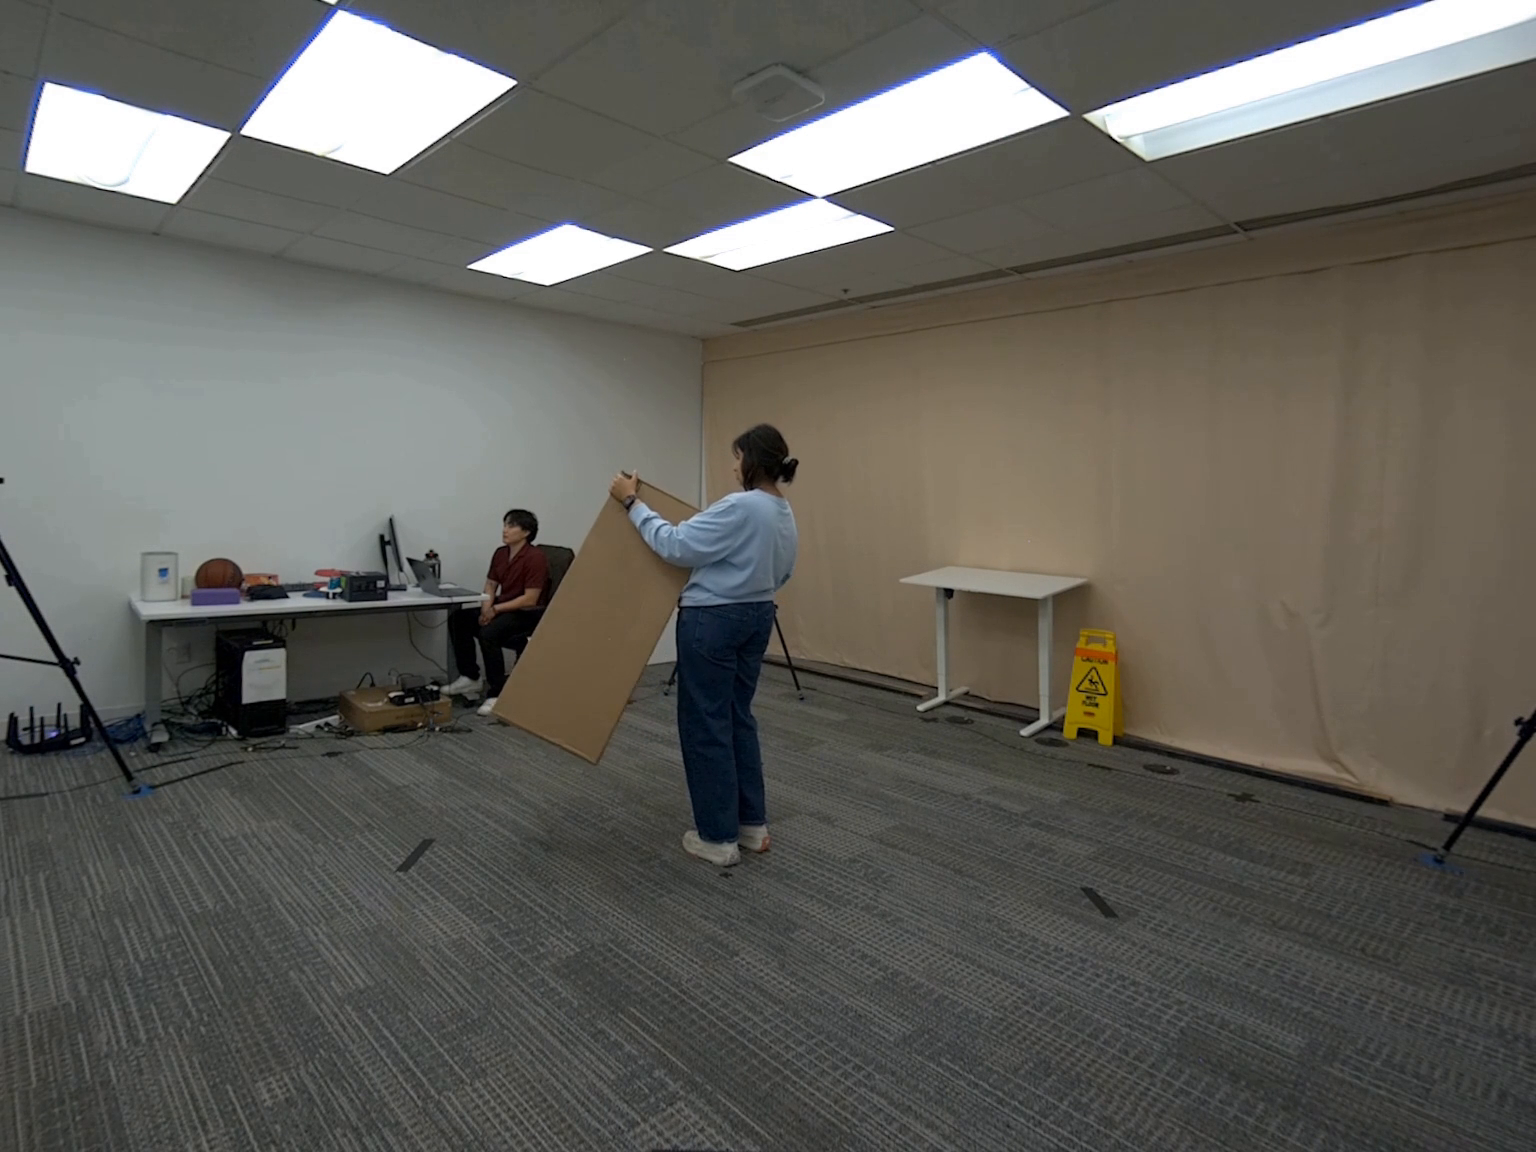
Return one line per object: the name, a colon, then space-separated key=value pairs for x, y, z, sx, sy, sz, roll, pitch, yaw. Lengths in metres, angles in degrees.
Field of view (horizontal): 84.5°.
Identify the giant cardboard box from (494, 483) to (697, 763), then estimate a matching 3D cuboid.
giant cardboard box: x=-0.645 y=0.179 z=3.389 sx=0.445 sy=1.031 sz=0.583 roll=27 pitch=-15 yaw=-4
